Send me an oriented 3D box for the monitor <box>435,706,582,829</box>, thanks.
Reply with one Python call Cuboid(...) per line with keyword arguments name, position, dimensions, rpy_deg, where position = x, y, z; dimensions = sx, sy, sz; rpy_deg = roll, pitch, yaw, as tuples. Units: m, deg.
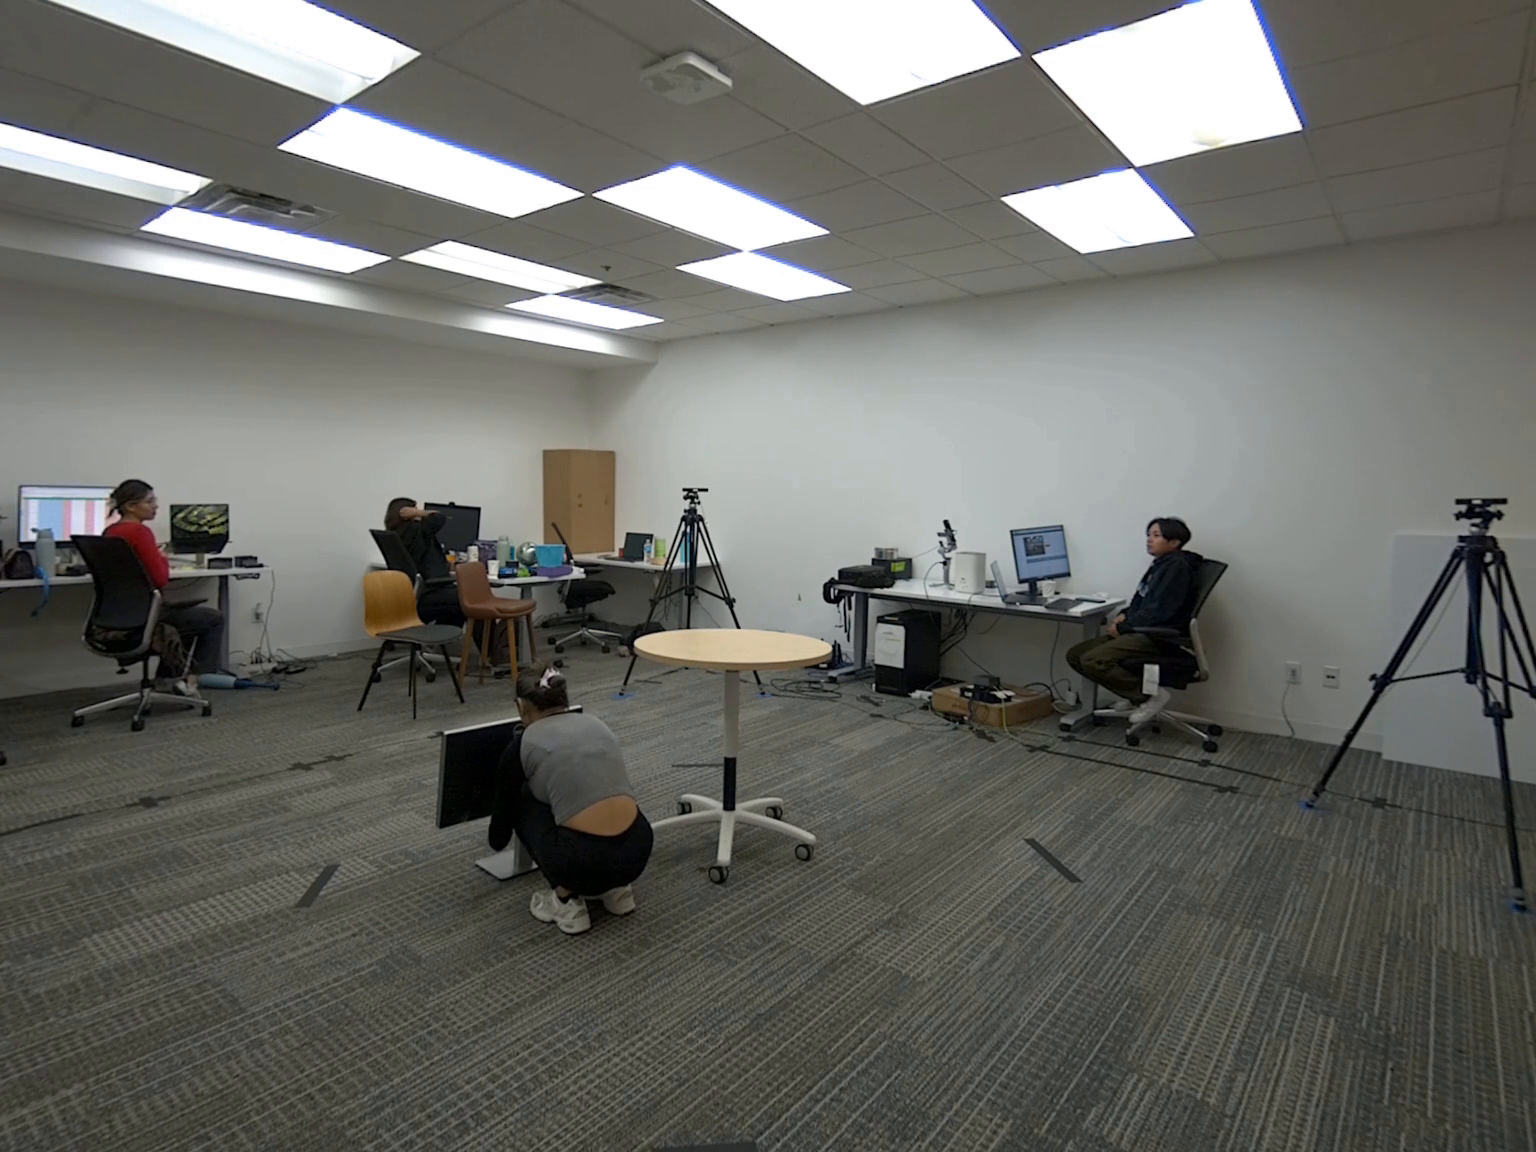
Cuboid(name="monitor", position=(-0.943, 0.797, 3.115), dimensions=(0.523, 0.521, 0.193), rpy_deg=(-4, 4, -44))
